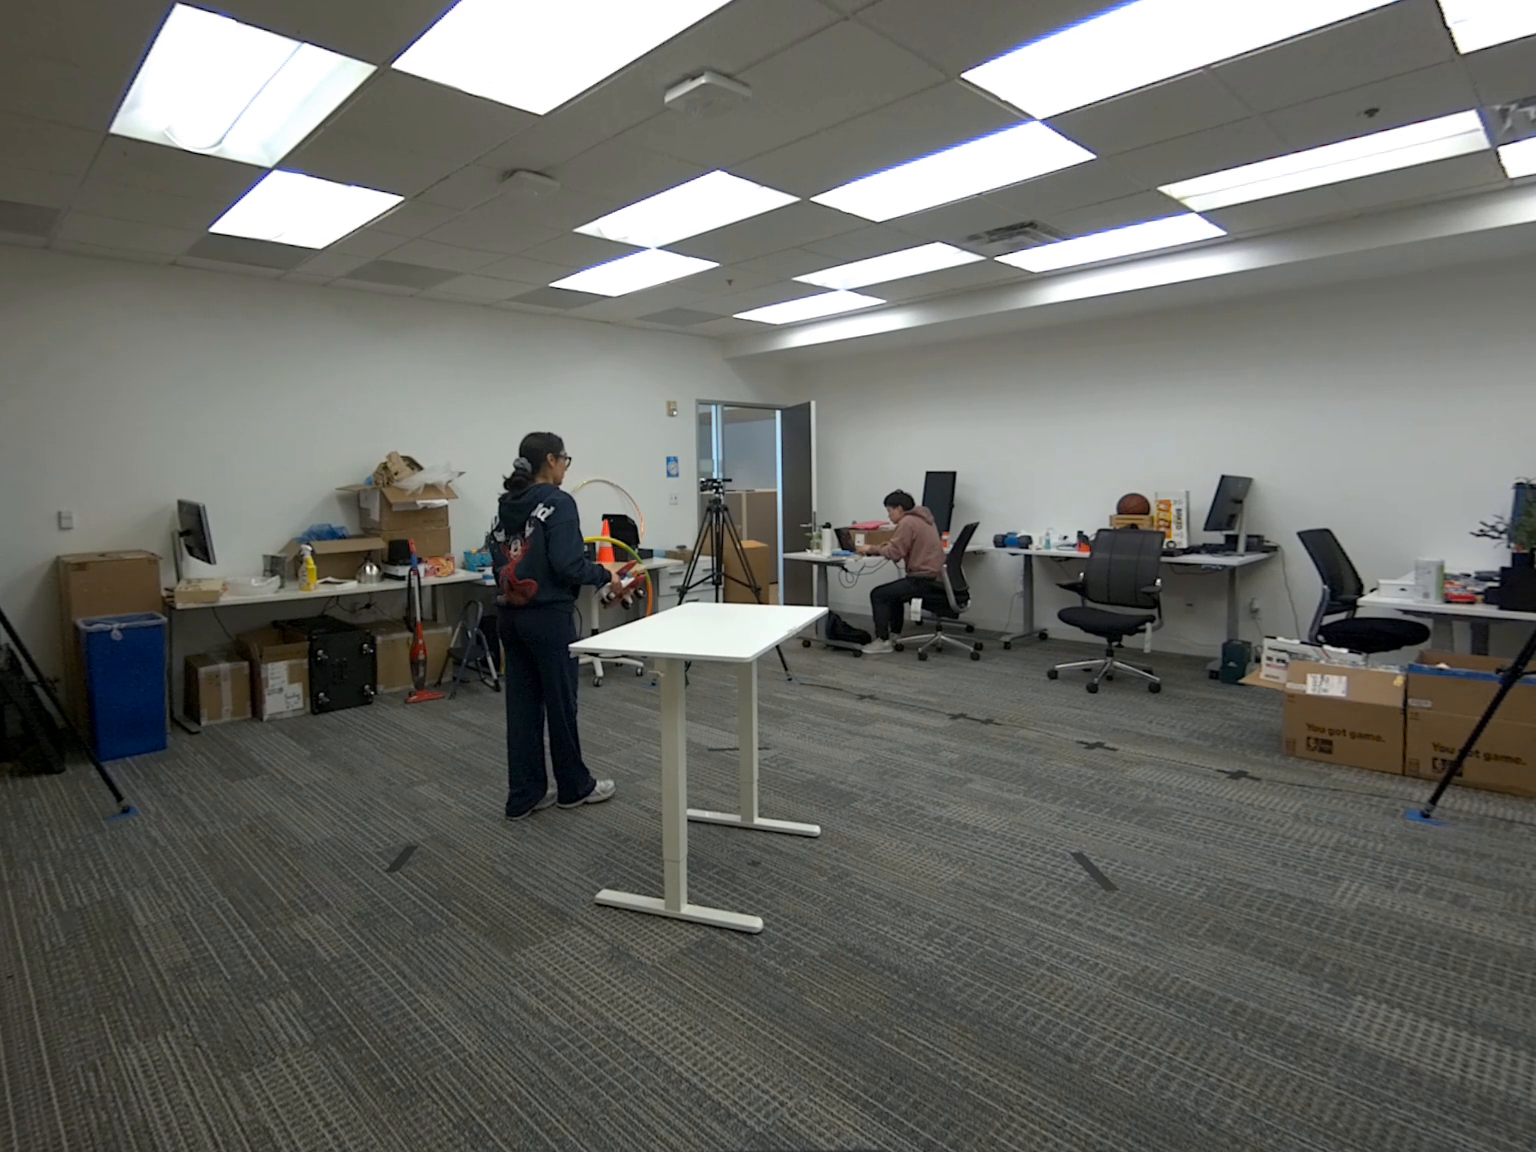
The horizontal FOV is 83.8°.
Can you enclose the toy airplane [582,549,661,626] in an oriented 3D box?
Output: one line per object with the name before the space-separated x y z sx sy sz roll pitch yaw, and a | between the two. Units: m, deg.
toy airplane | -0.642 0.050 3.702 0.251 0.161 0.252 -28 -22 -2
